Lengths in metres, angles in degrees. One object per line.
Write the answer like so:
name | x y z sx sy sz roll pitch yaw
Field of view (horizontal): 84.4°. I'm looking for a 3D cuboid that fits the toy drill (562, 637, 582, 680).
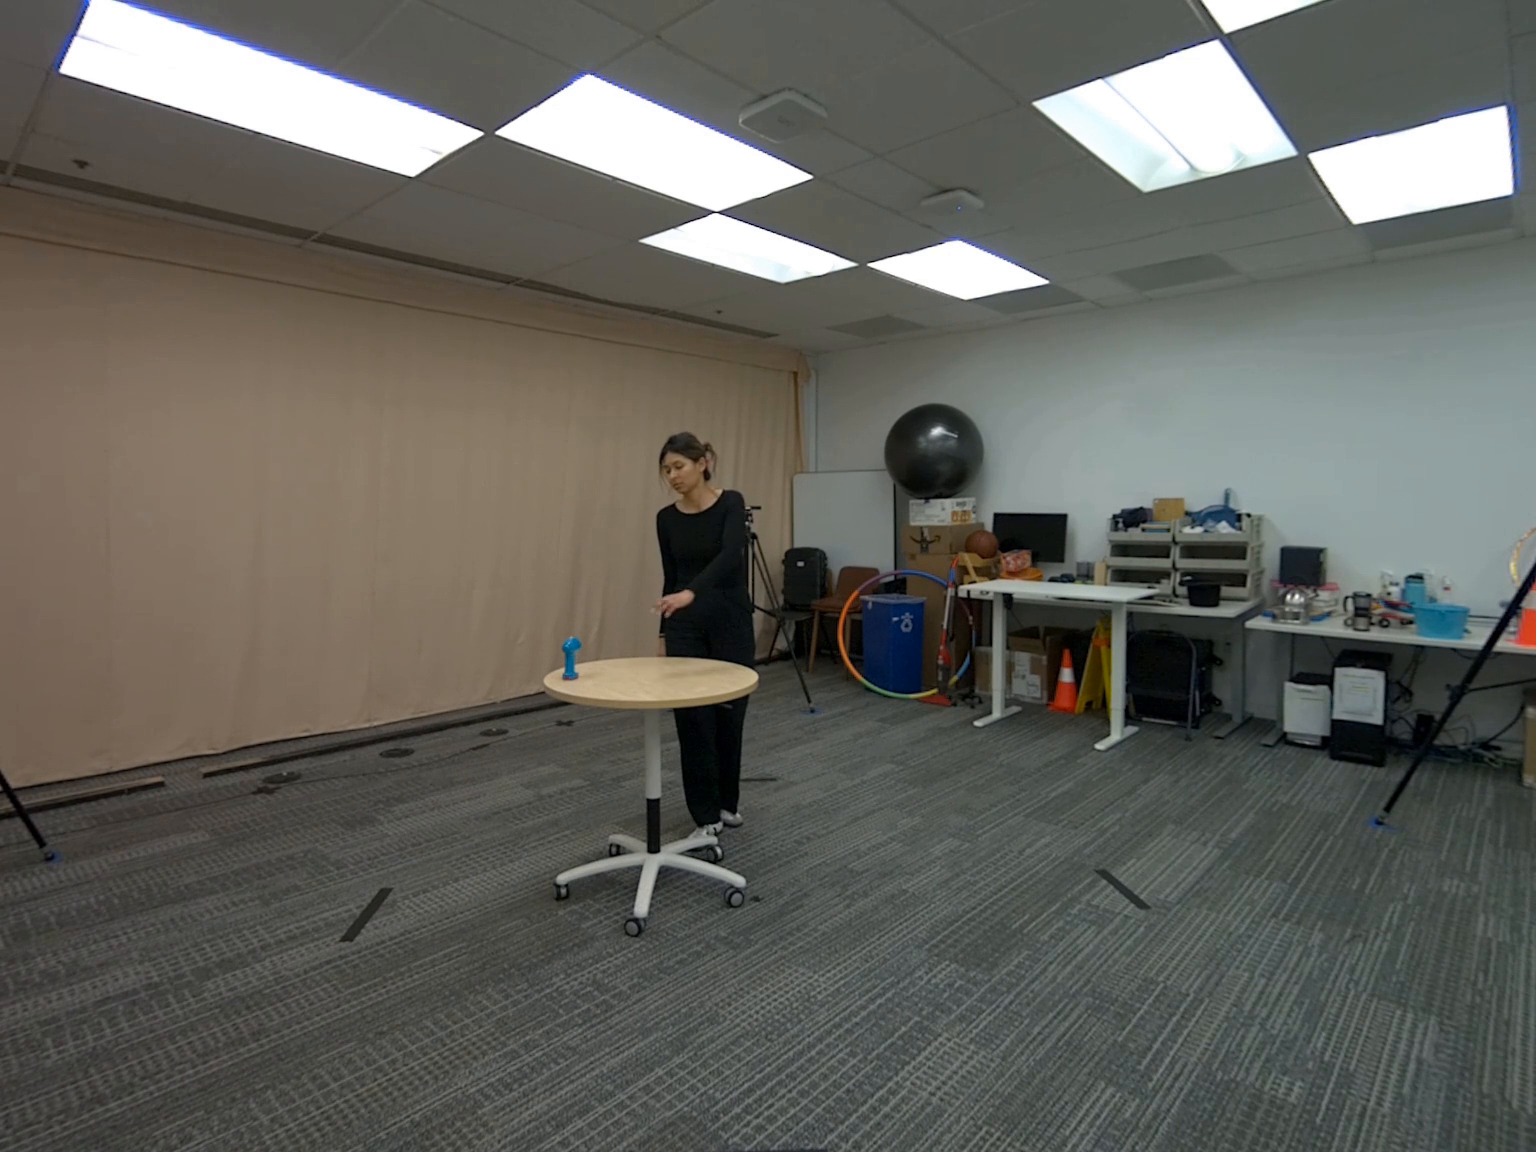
toy drill | -0.707 0.288 3.027 0.061 0.146 0.170 2 4 0
